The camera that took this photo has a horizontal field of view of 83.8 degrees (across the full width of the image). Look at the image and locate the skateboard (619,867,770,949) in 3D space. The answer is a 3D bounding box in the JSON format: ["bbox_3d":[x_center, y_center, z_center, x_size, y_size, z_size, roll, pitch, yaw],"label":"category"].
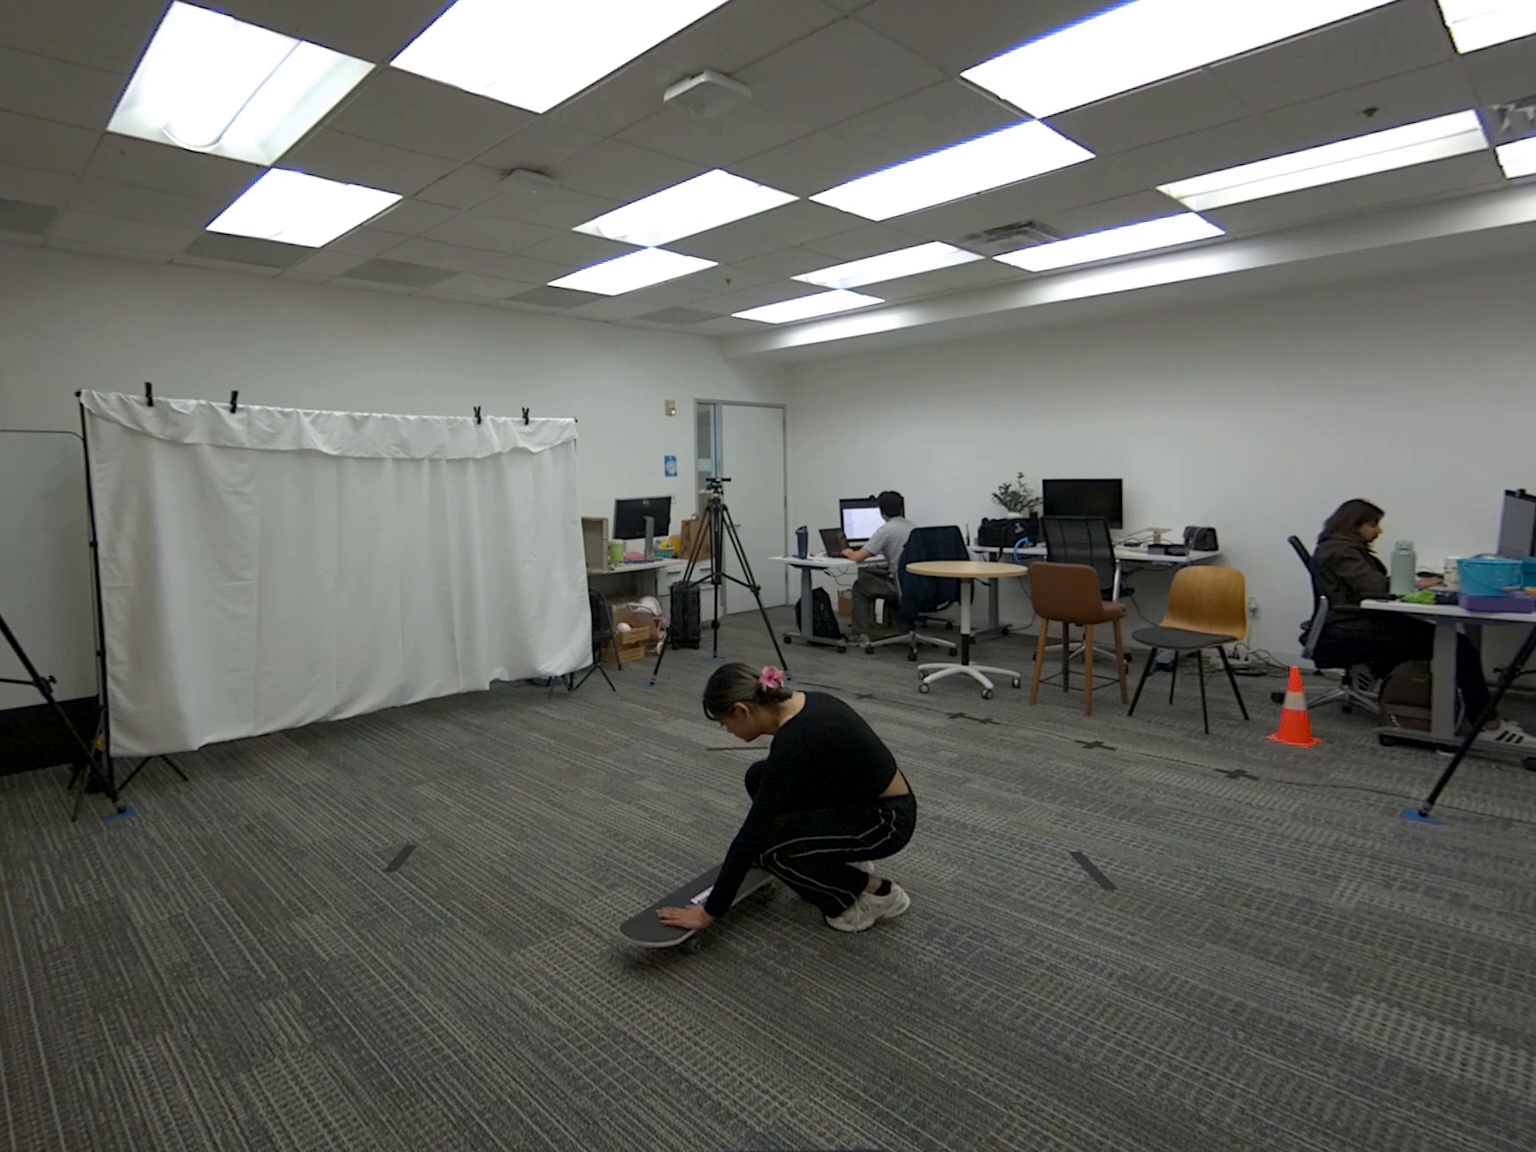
[{"bbox_3d":[-0.162,1.027,2.731,0.199,0.110,0.767,3,8,34],"label":"skateboard"}]
